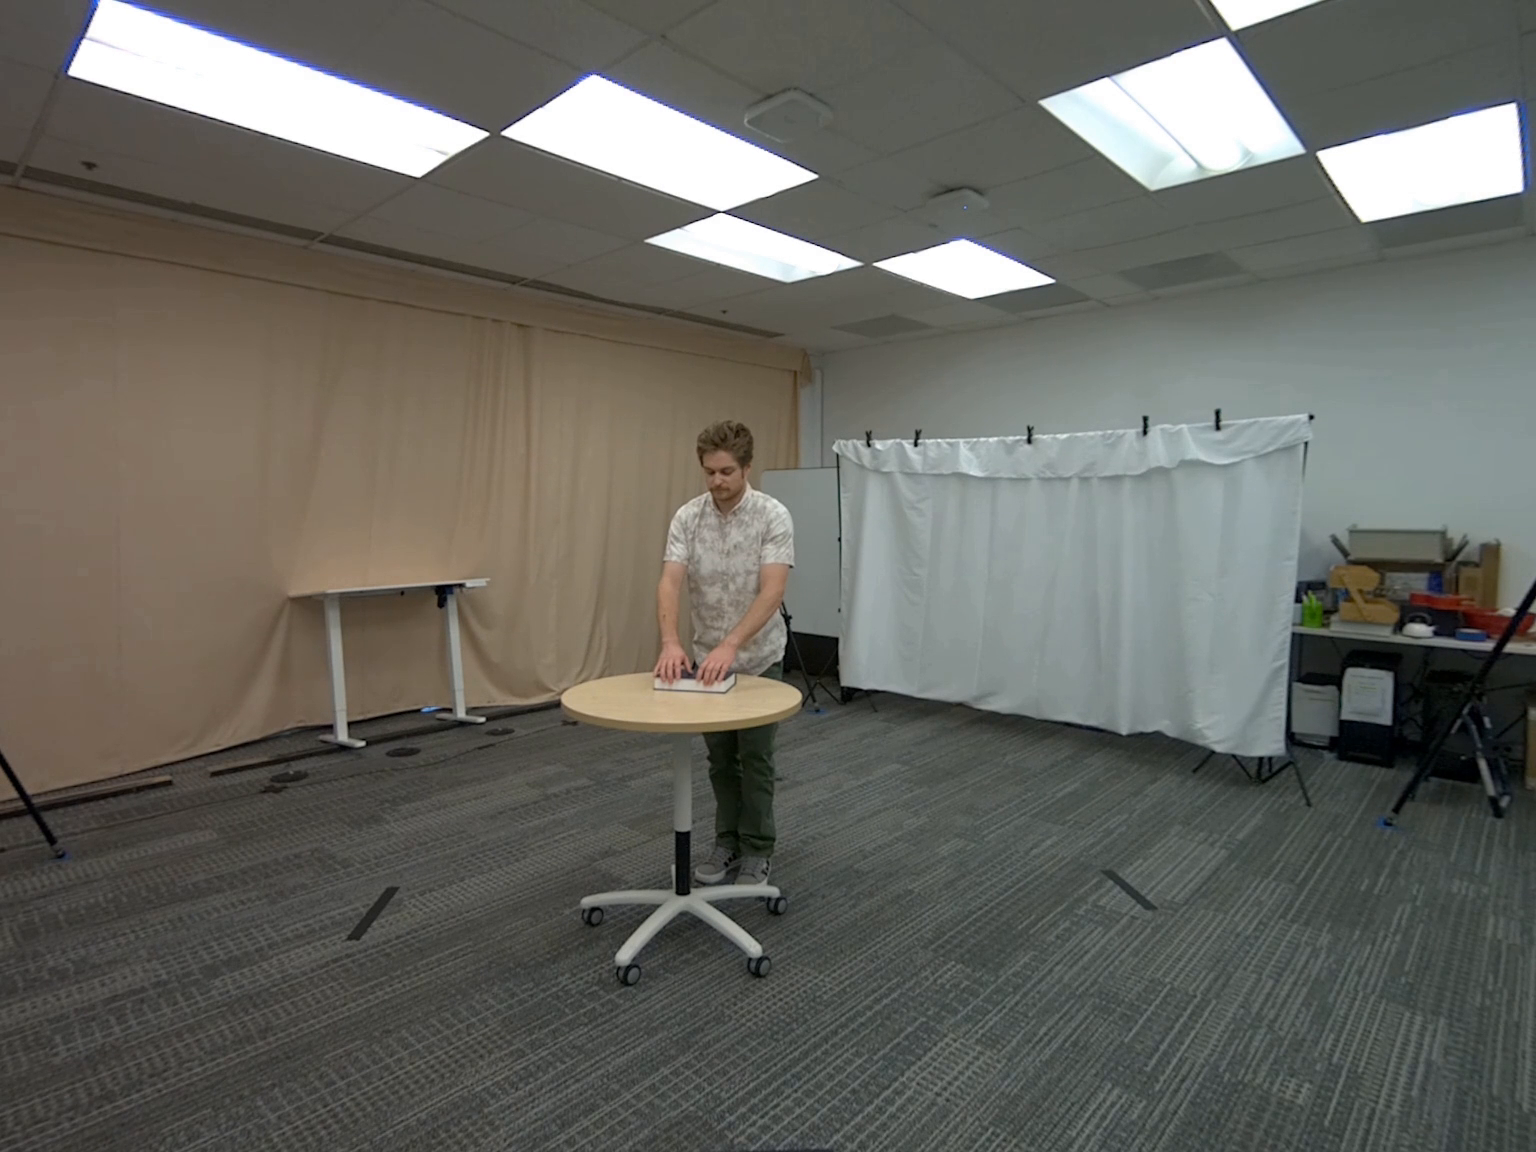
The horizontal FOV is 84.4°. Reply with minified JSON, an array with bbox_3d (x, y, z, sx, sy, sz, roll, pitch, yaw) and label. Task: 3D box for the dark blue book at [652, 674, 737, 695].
[{"bbox_3d":[-0.243,0.349,2.812,0.248,0.045,0.161,2,5,12],"label":"dark blue book"}]
